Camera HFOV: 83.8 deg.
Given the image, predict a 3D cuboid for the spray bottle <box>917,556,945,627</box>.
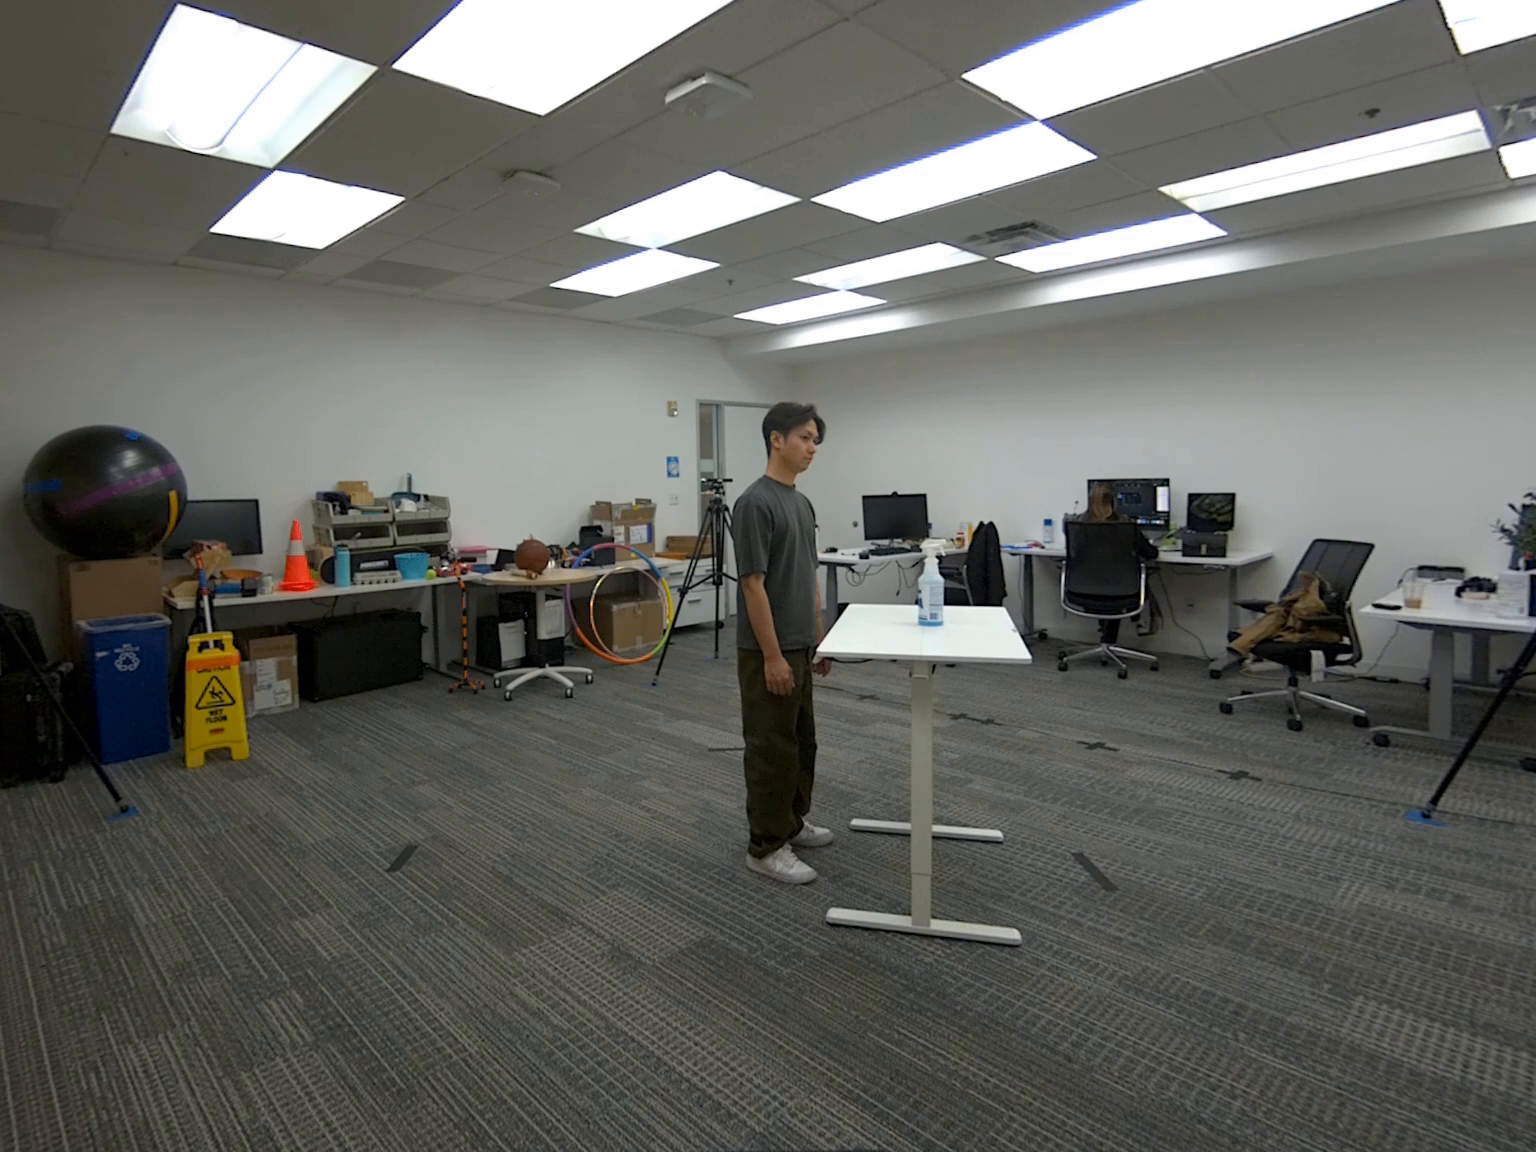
[{"bbox_3d":[0.565,0.022,2.960,0.085,0.297,0.092,-1,2,-30],"label":"spray bottle"}]
